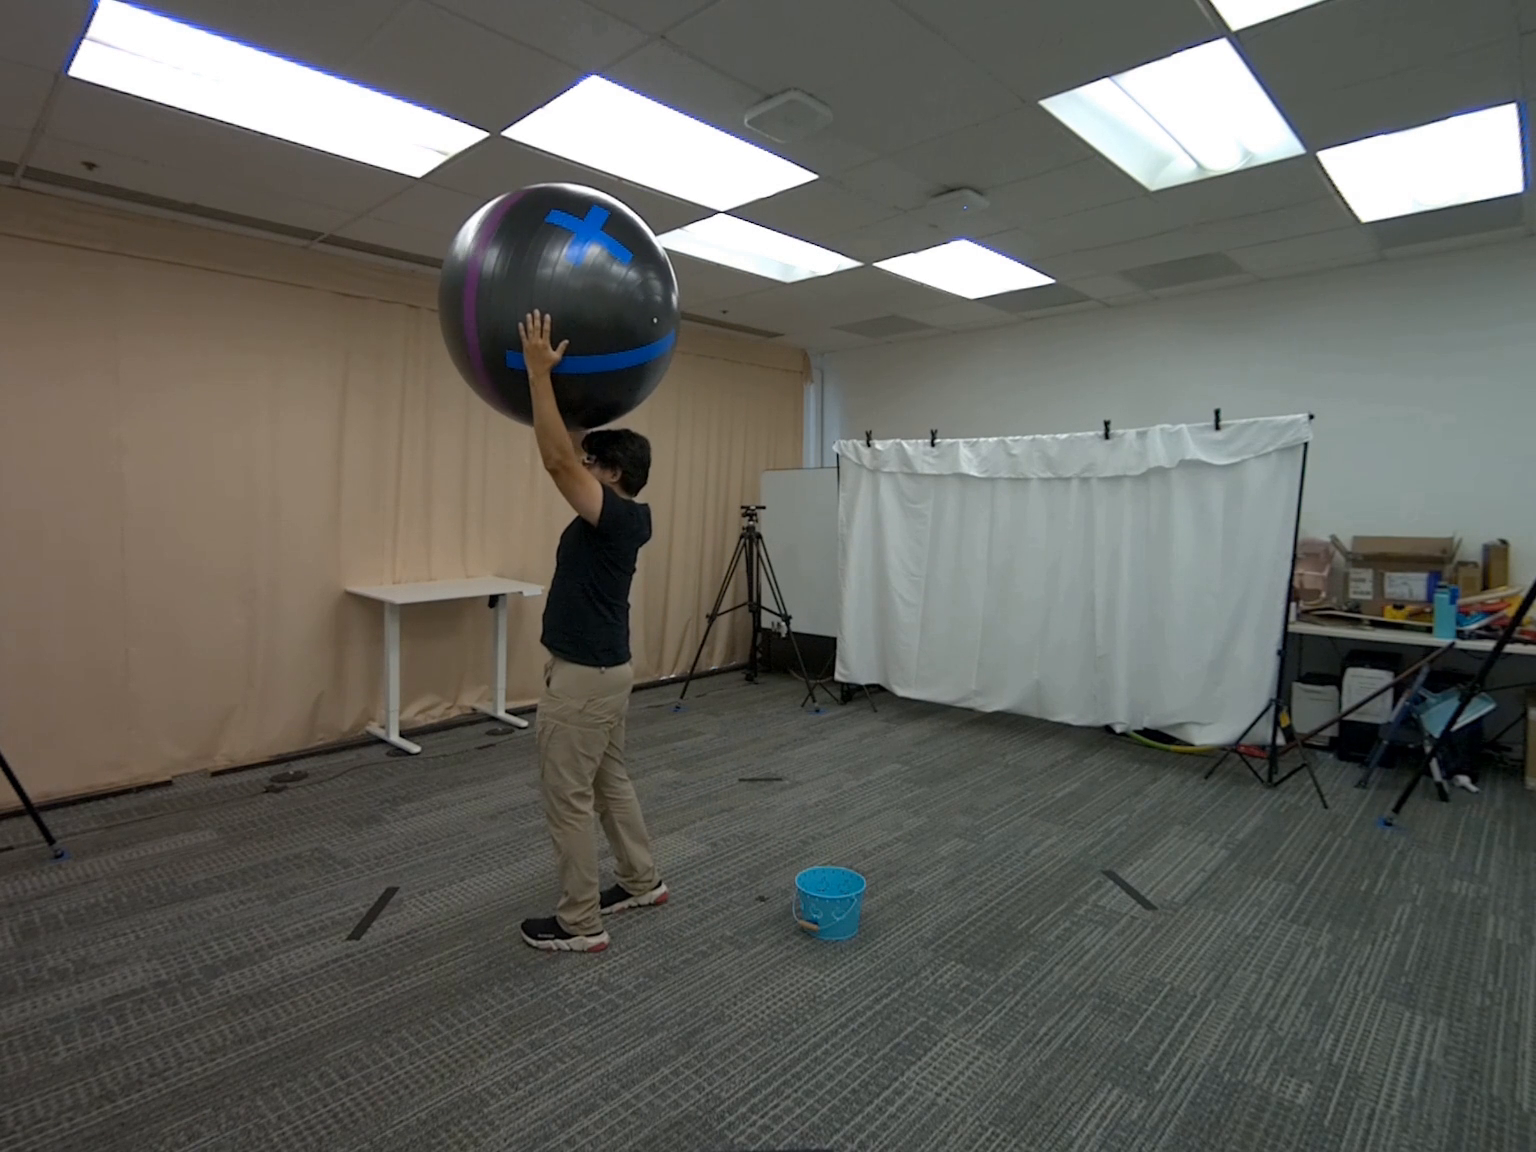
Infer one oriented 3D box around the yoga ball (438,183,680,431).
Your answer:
[{"bbox_3d":[-0.655,-0.837,2.693,0.757,0.756,0.761,0,4,-2],"label":"yoga ball"}]
